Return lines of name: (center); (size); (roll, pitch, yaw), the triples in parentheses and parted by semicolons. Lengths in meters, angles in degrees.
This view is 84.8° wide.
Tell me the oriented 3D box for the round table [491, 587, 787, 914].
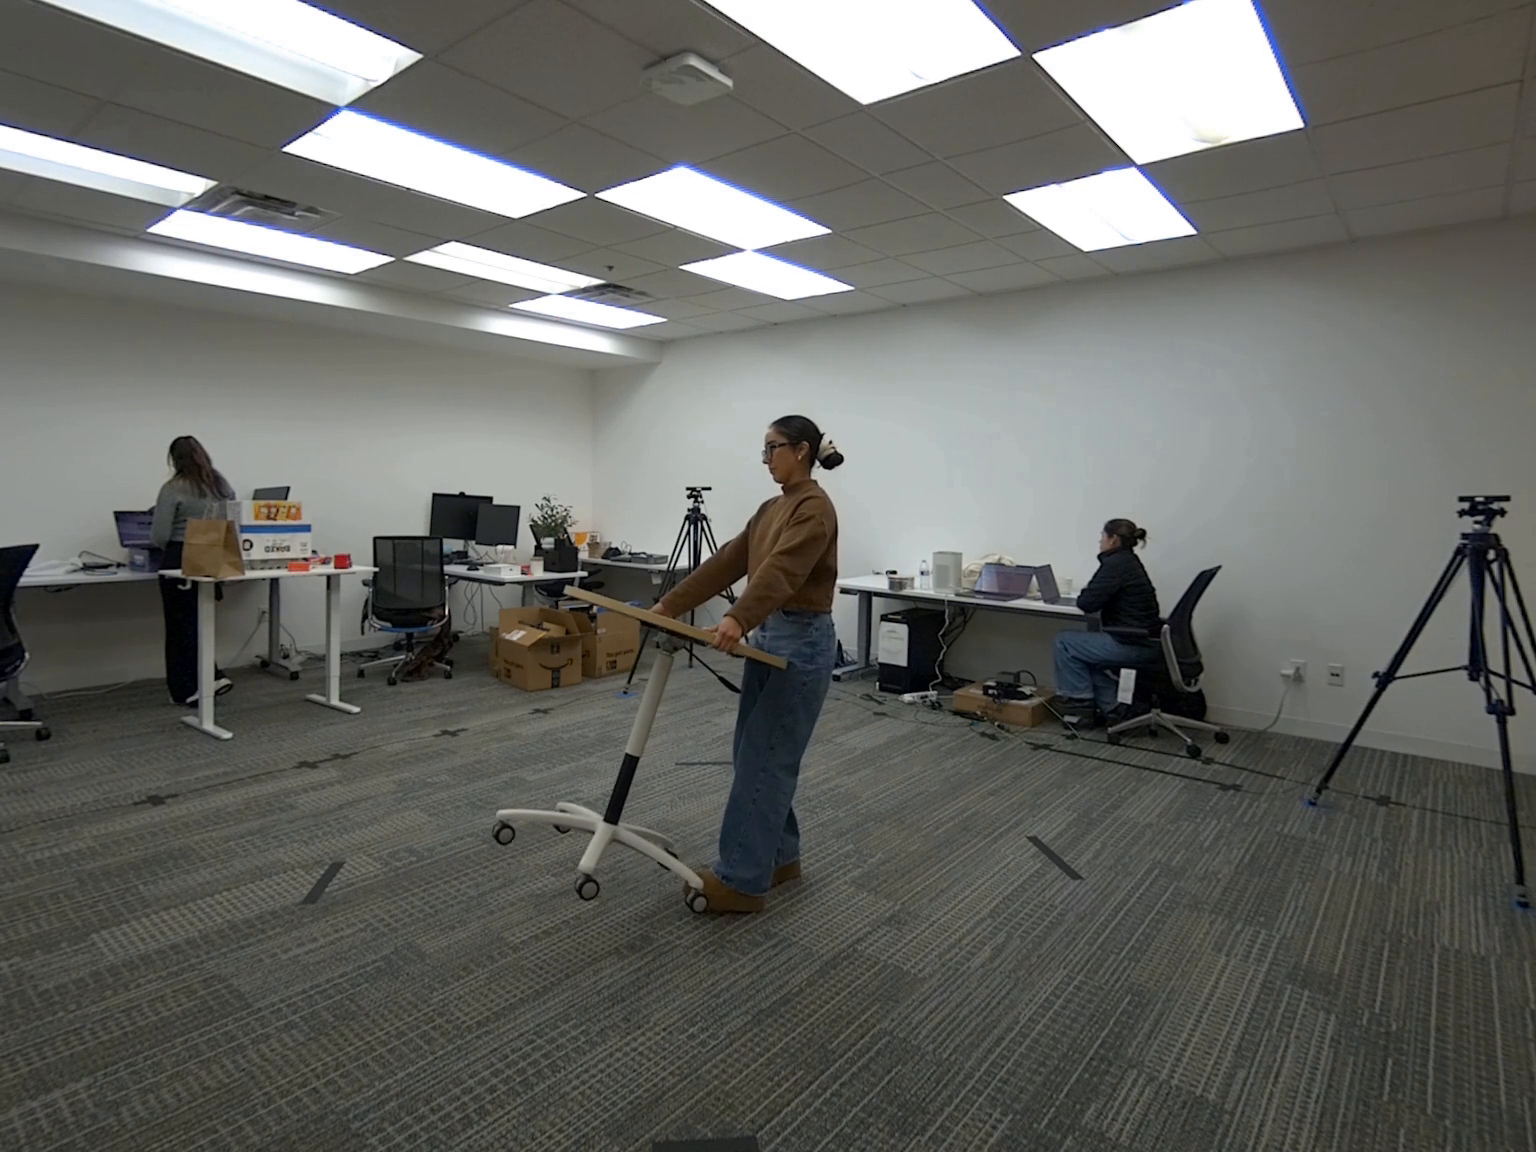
round table: (-0.440, 0.533, 2.723); (0.787, 0.790, 0.780); (18, -7, 0)
